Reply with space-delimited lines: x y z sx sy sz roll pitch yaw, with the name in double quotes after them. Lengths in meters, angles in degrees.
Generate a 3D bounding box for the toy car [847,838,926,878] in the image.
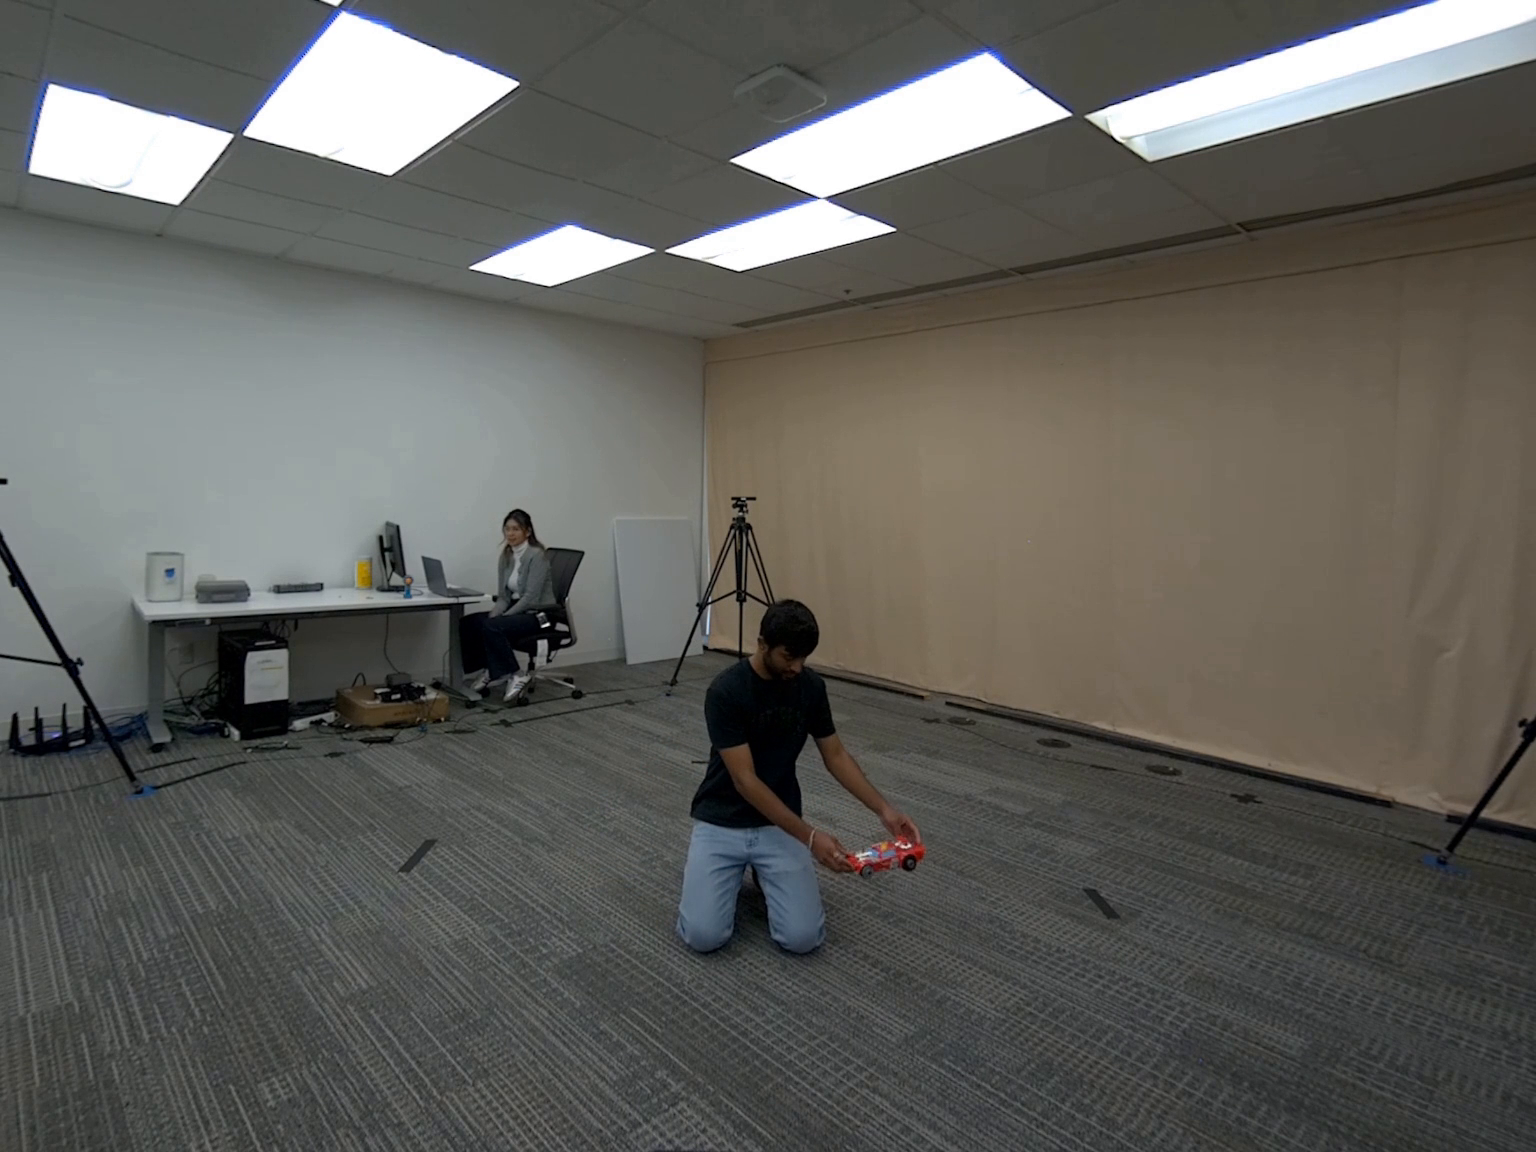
0.353 0.874 2.567 0.252 0.083 0.132 -14 8 -20 "toy car"
